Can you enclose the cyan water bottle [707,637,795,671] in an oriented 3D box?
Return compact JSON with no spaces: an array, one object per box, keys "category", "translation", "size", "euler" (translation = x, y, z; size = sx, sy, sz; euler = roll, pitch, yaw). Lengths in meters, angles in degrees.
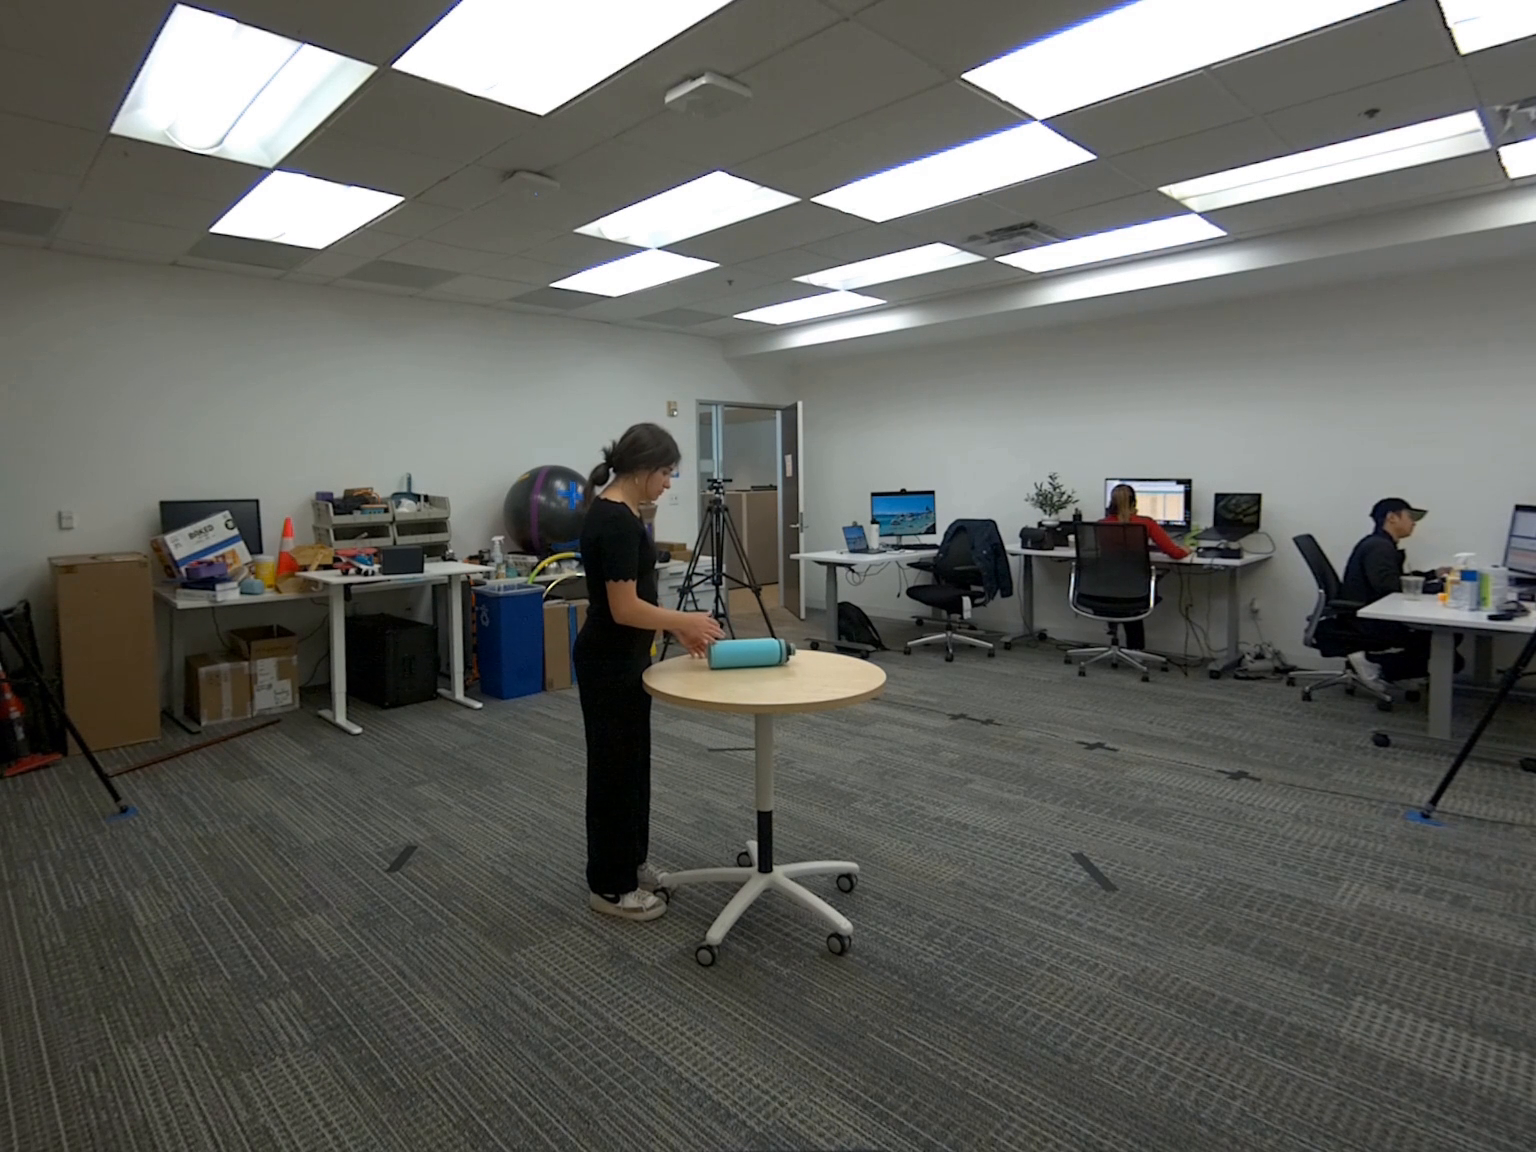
[{"category":"cyan water bottle","translation":[-0.057,0.250,2.791],"size":[0.280,0.092,0.094],"euler":[-3,5,-11]}]
